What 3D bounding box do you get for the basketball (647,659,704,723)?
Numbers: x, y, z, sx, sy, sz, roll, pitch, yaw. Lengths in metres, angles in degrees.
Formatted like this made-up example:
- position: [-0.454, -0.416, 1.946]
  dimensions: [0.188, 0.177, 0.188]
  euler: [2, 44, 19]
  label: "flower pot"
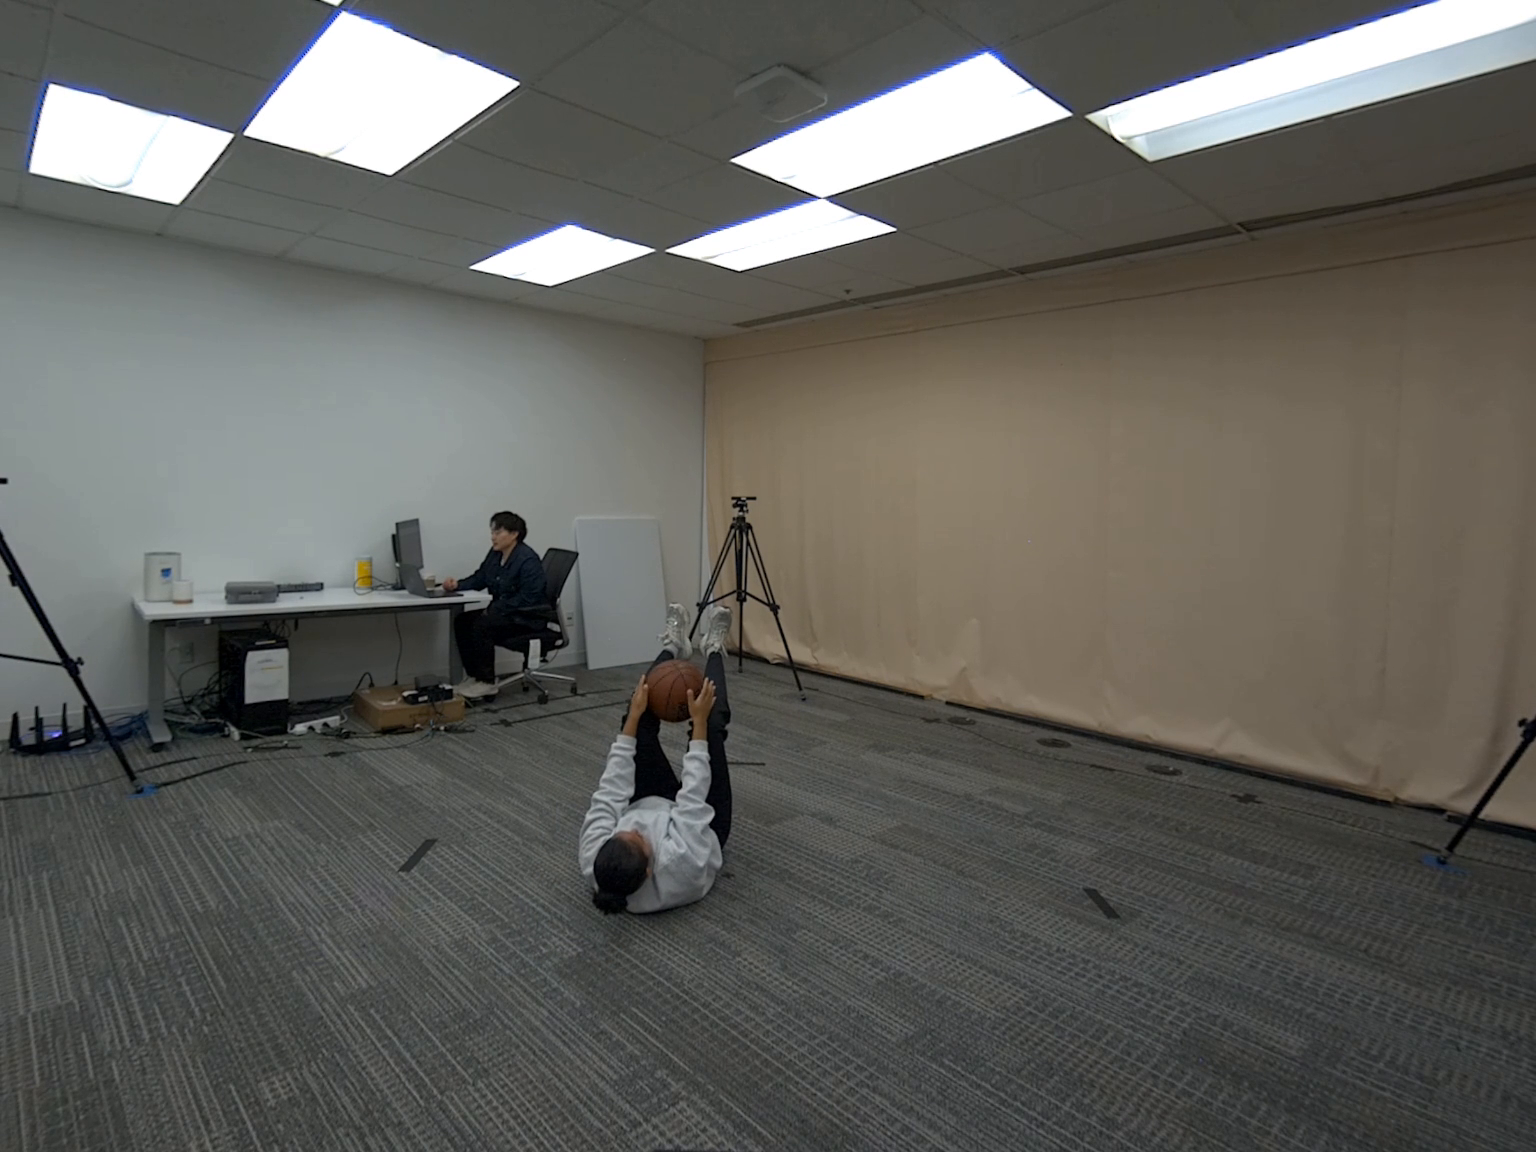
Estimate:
- position: [-0.369, 0.437, 3.246]
  dimensions: [0.236, 0.235, 0.237]
  euler: [1, 5, -1]
  label: "basketball"
